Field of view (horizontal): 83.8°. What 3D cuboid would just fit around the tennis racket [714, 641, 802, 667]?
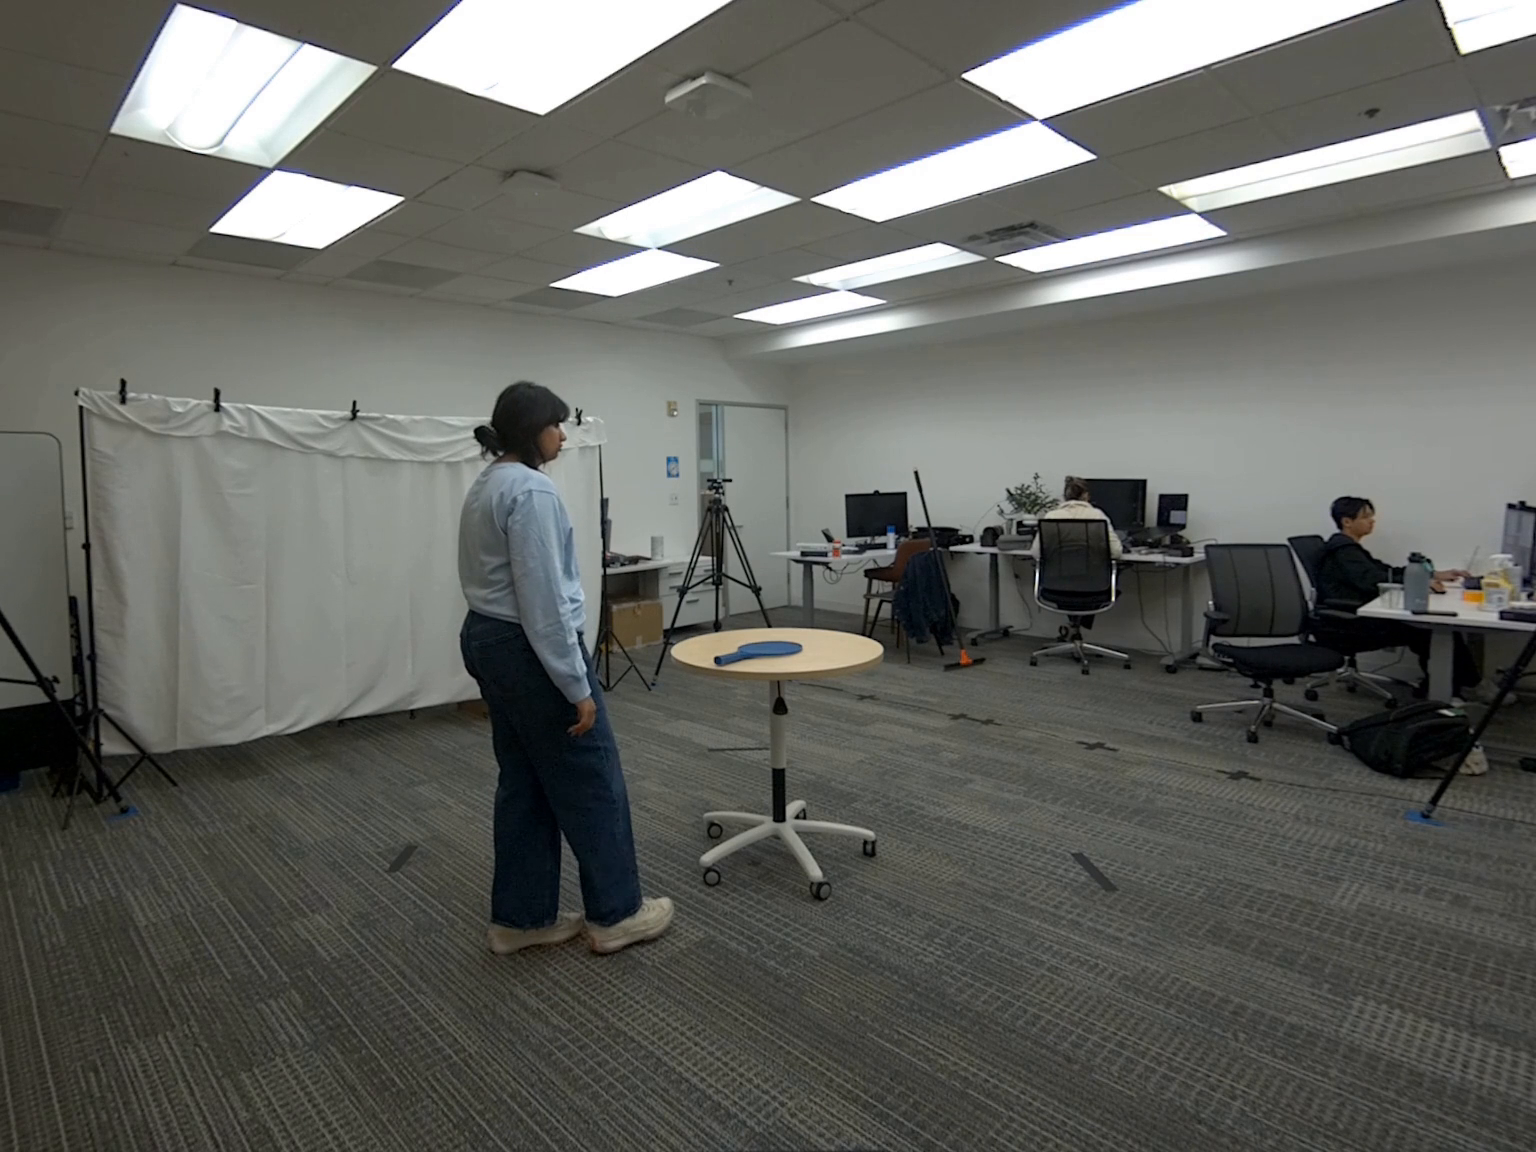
[{"bbox_3d":[-0.040,0.266,2.989,0.220,0.031,0.422,4,7,37],"label":"tennis racket"}]
